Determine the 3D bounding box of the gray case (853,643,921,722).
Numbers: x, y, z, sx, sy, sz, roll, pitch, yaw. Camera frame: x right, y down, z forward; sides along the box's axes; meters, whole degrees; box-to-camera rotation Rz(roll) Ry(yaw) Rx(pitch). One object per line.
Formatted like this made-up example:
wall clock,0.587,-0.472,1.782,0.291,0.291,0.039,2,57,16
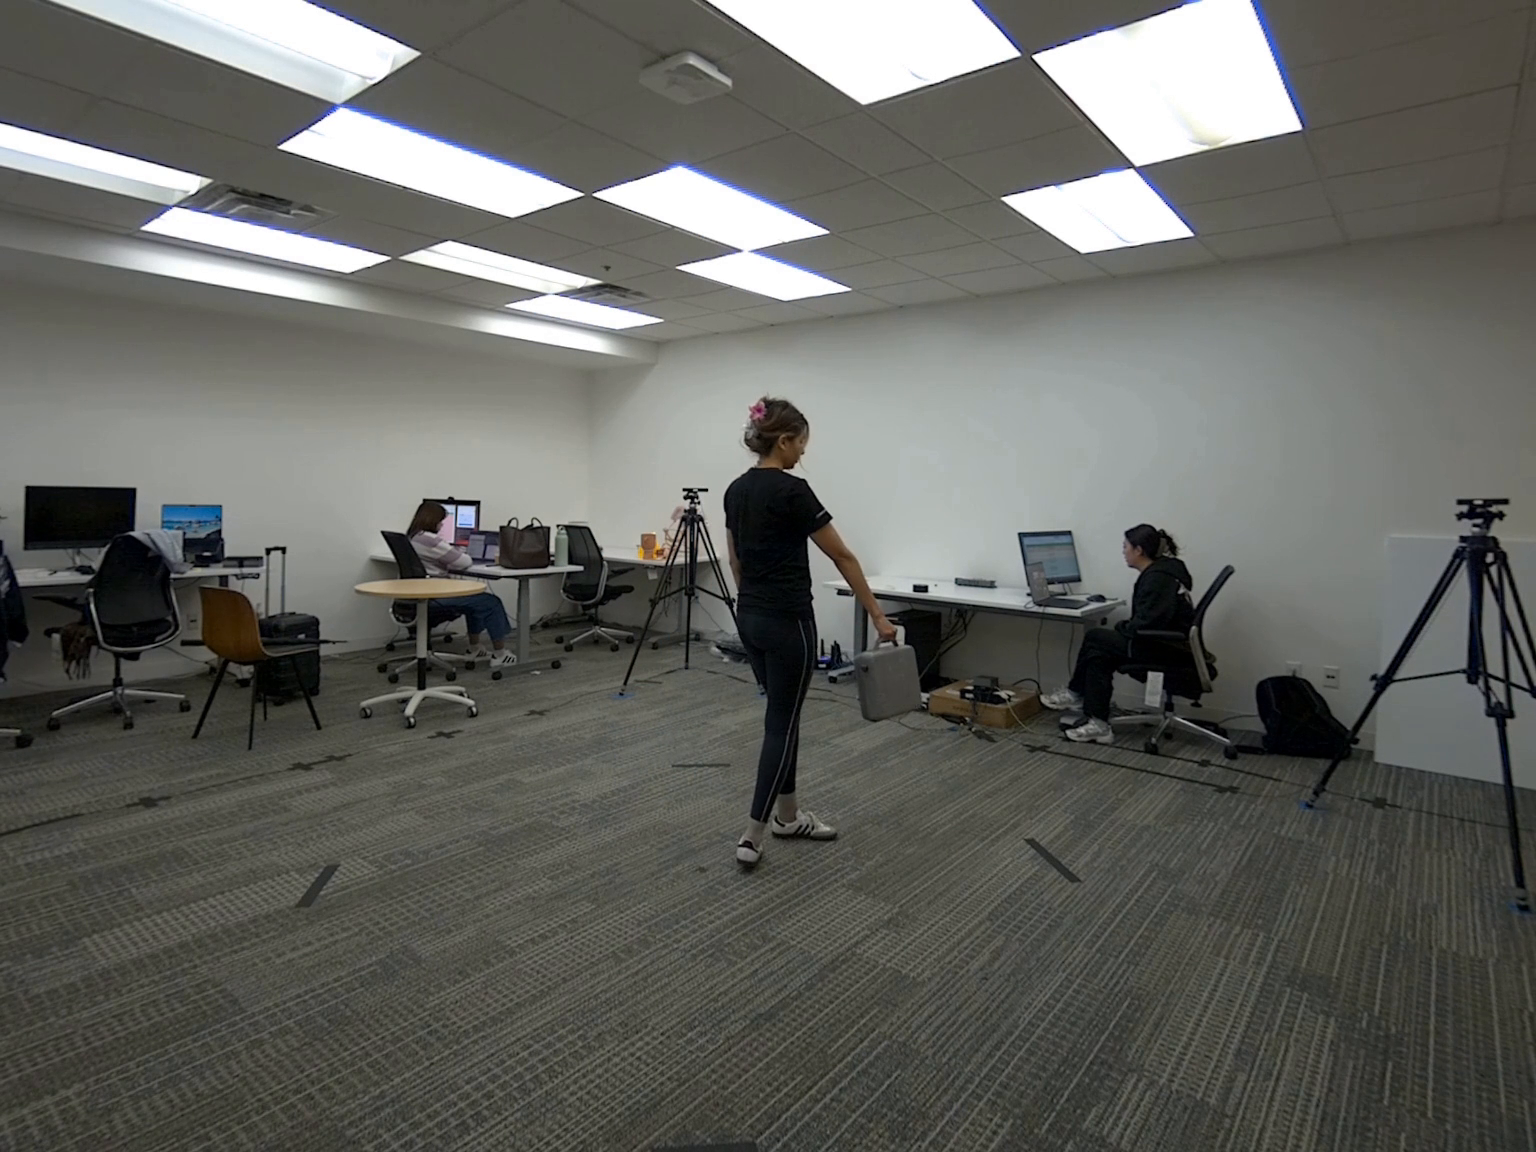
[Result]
gray case,0.443,0.392,3.205,0.250,0.261,0.107,-8,-2,-36
